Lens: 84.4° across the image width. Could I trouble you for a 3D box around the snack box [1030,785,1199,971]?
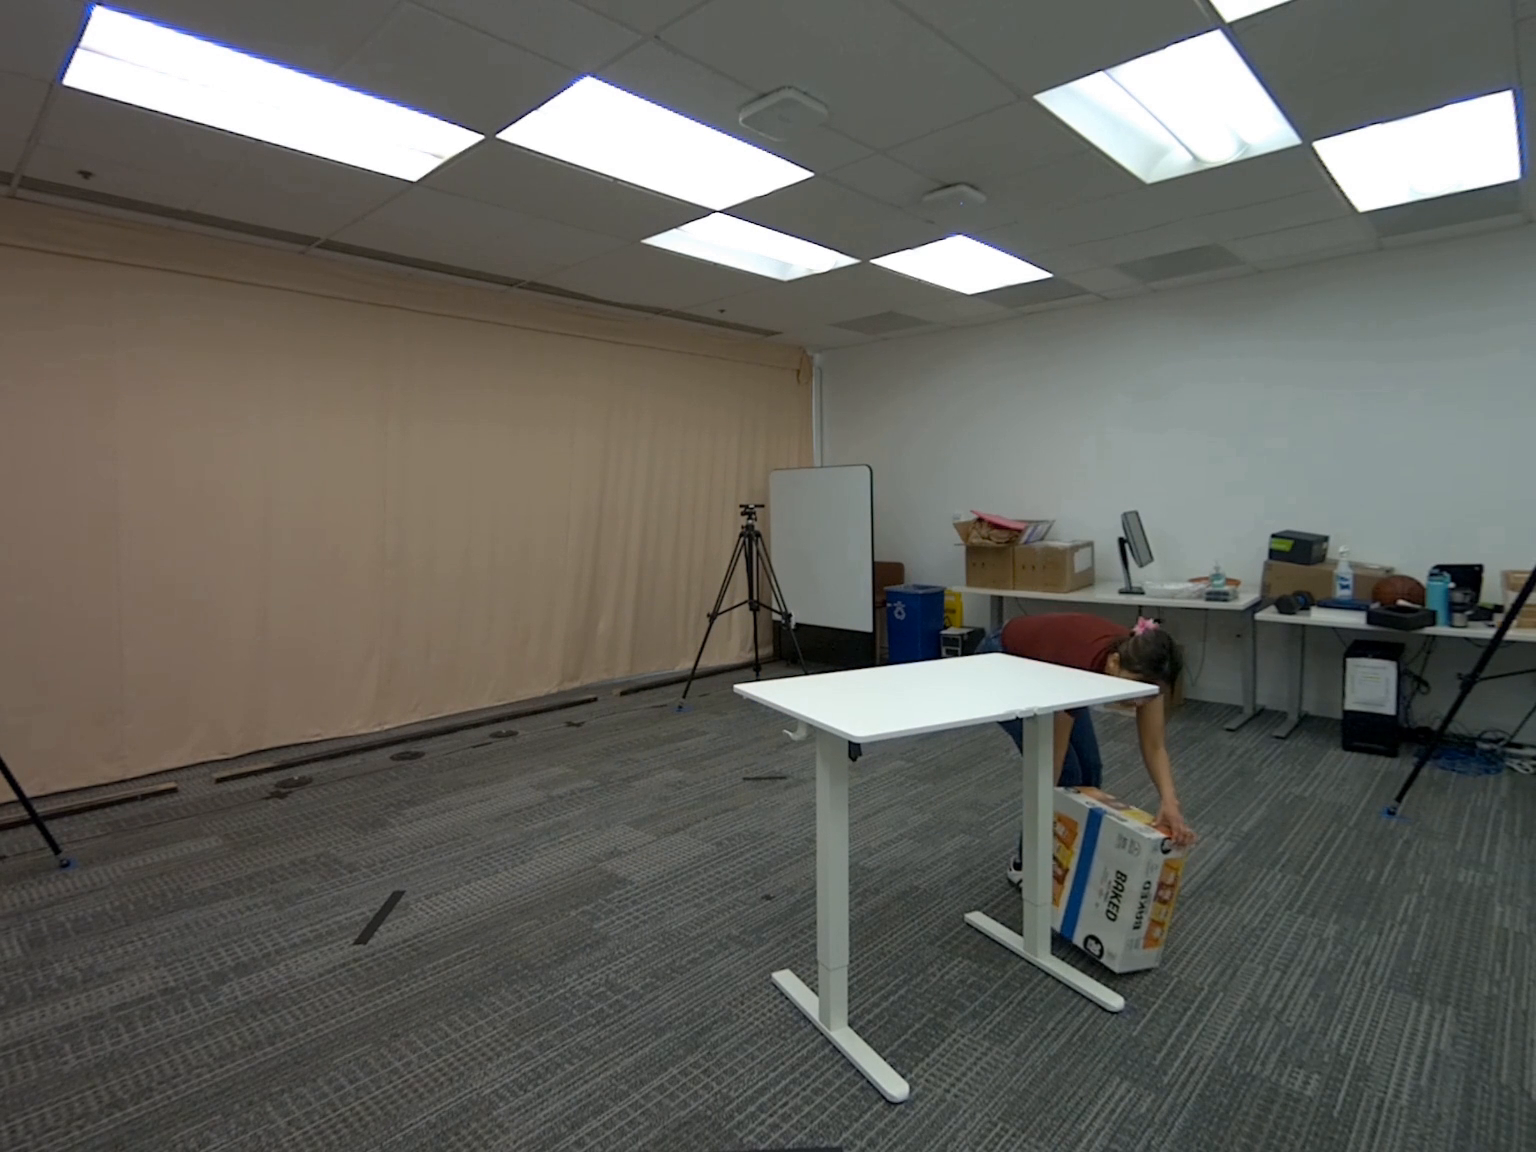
[{"bbox_3d":[1.037,0.891,2.566,0.200,0.404,0.351,7,5,-31],"label":"snack box"}]
